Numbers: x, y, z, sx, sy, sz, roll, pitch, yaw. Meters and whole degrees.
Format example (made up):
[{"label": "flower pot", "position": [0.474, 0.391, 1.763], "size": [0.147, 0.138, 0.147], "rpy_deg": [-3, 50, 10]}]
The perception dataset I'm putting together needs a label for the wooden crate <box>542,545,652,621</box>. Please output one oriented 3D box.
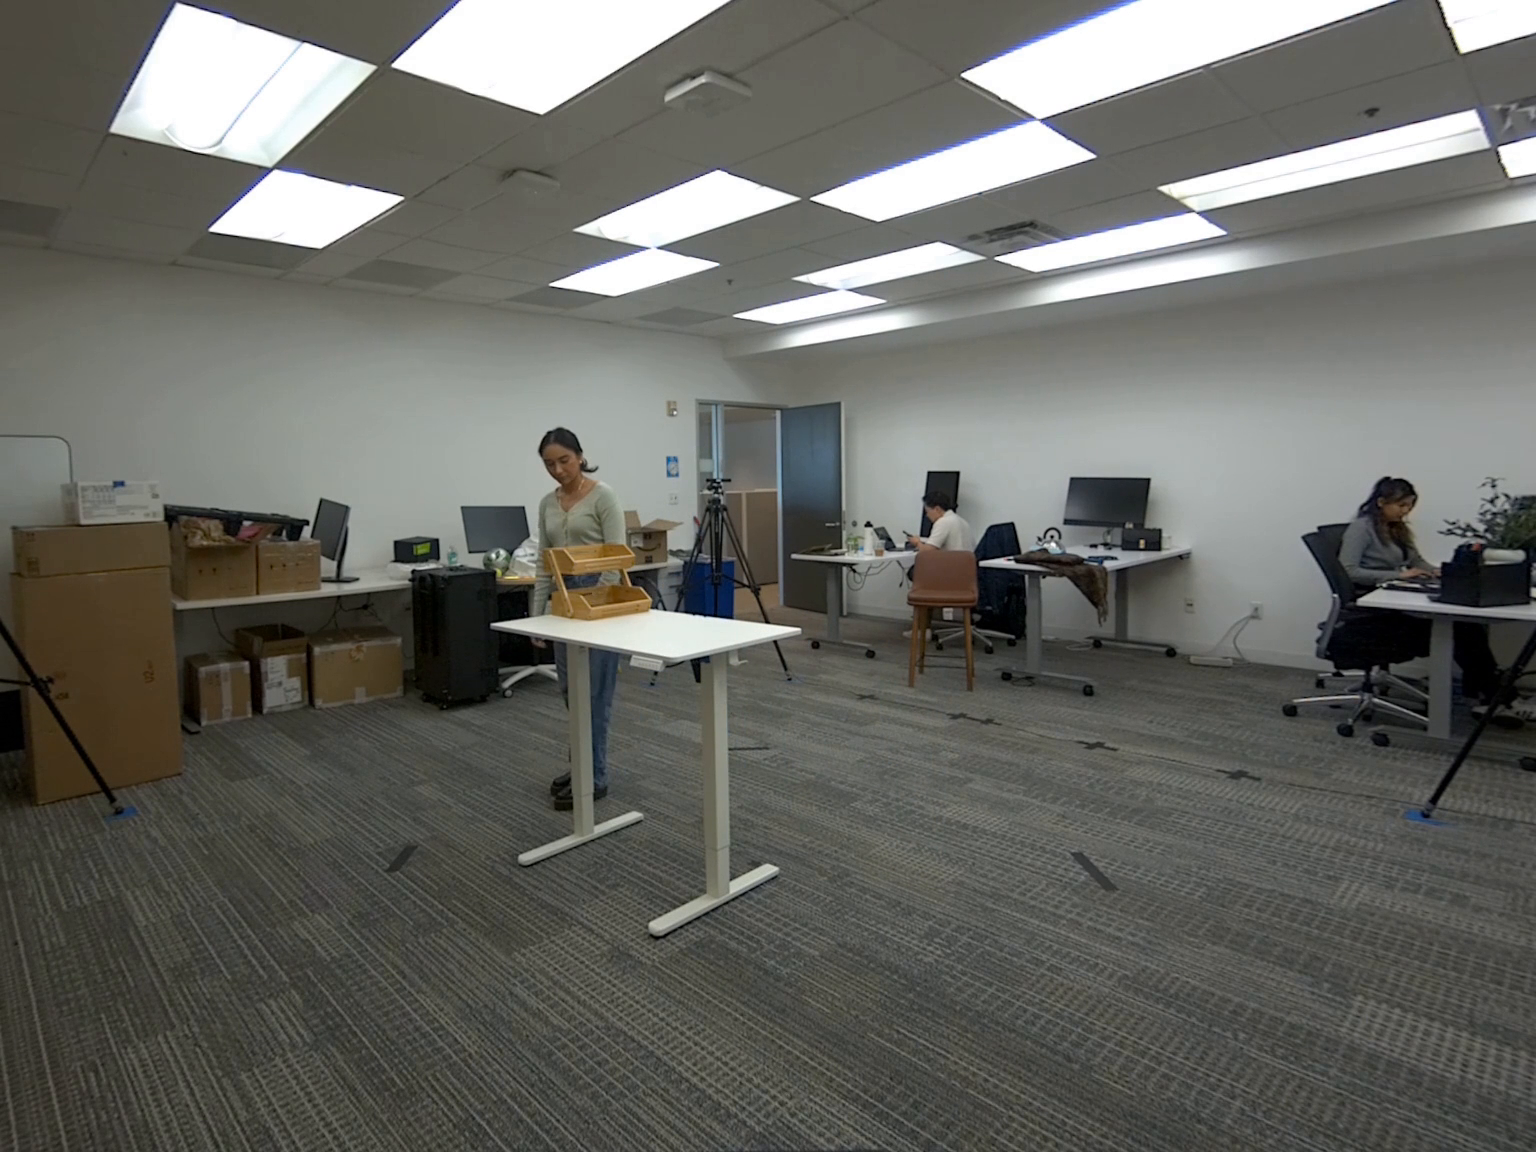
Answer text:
[{"label": "wooden crate", "position": [-0.670, 0.013, 3.367], "size": [0.311, 0.272, 0.316], "rpy_deg": [2, 6, 43]}]
